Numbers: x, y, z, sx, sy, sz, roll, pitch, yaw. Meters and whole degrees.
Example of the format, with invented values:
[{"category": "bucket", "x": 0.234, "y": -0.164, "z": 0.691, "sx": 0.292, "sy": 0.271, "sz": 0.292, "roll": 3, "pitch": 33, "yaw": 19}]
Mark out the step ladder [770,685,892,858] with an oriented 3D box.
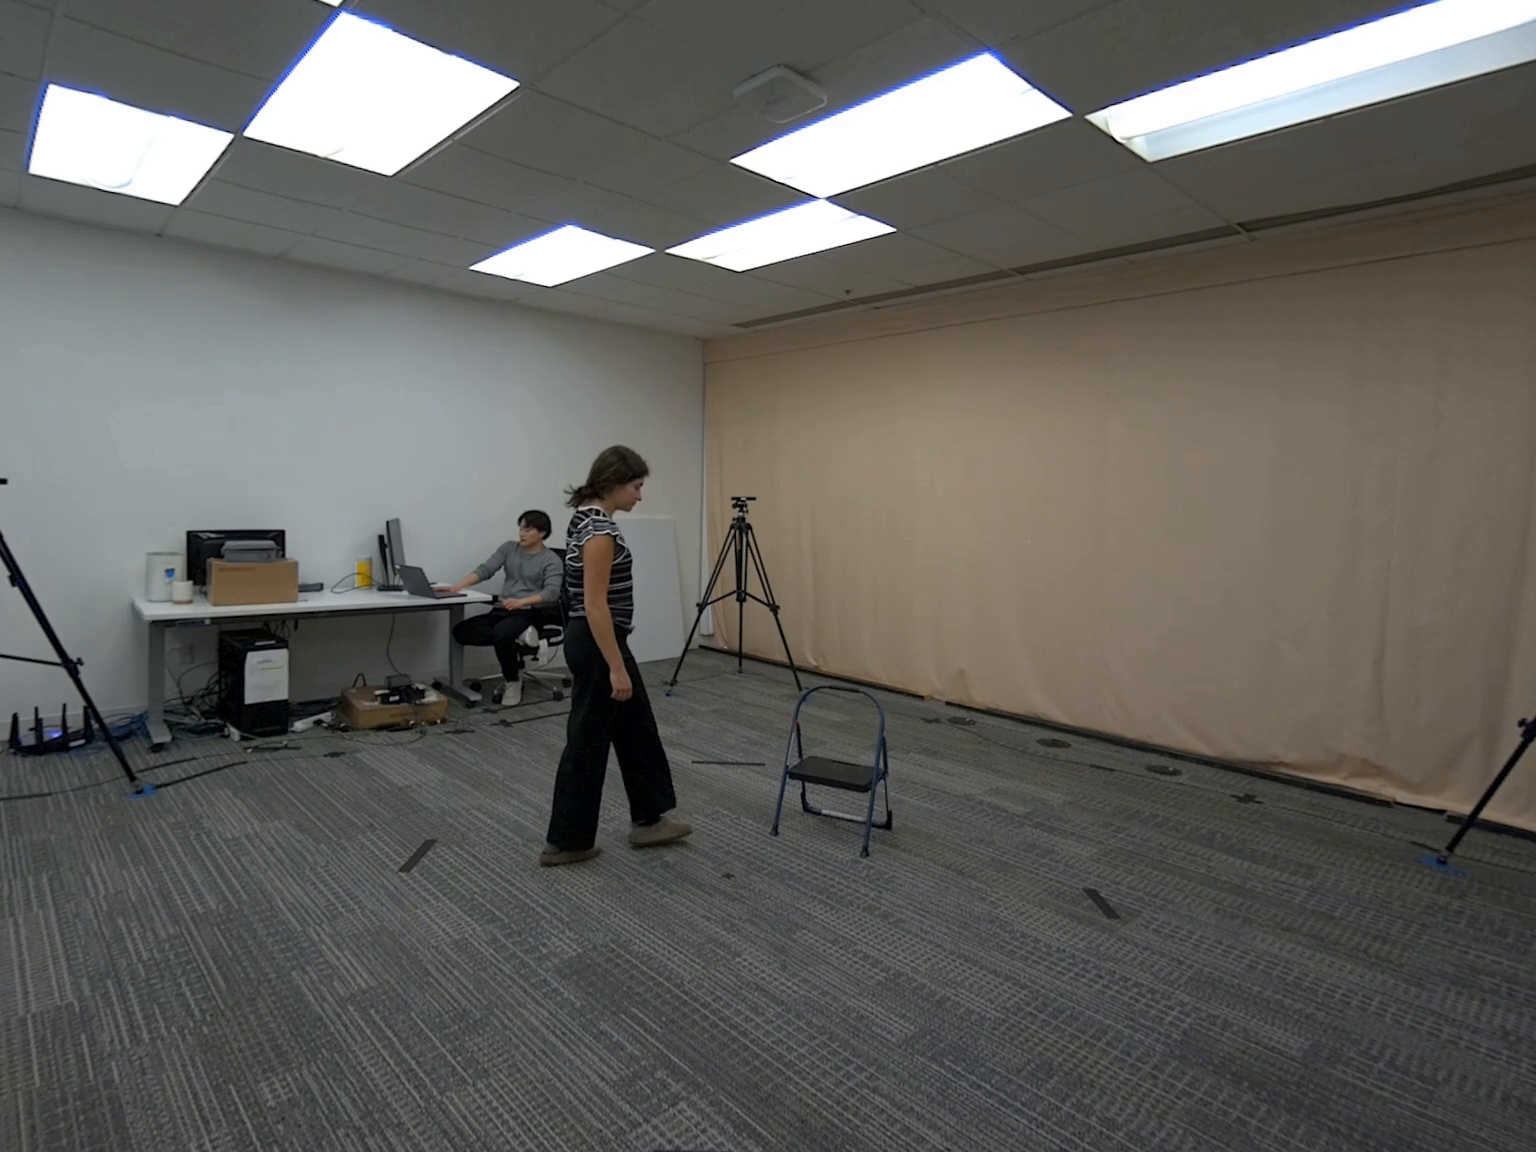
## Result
[{"category": "step ladder", "x": 0.275, "y": 0.778, "z": 3.533, "sx": 0.439, "sy": 0.604, "sz": 0.343, "roll": 3, "pitch": 4, "yaw": 27}]
